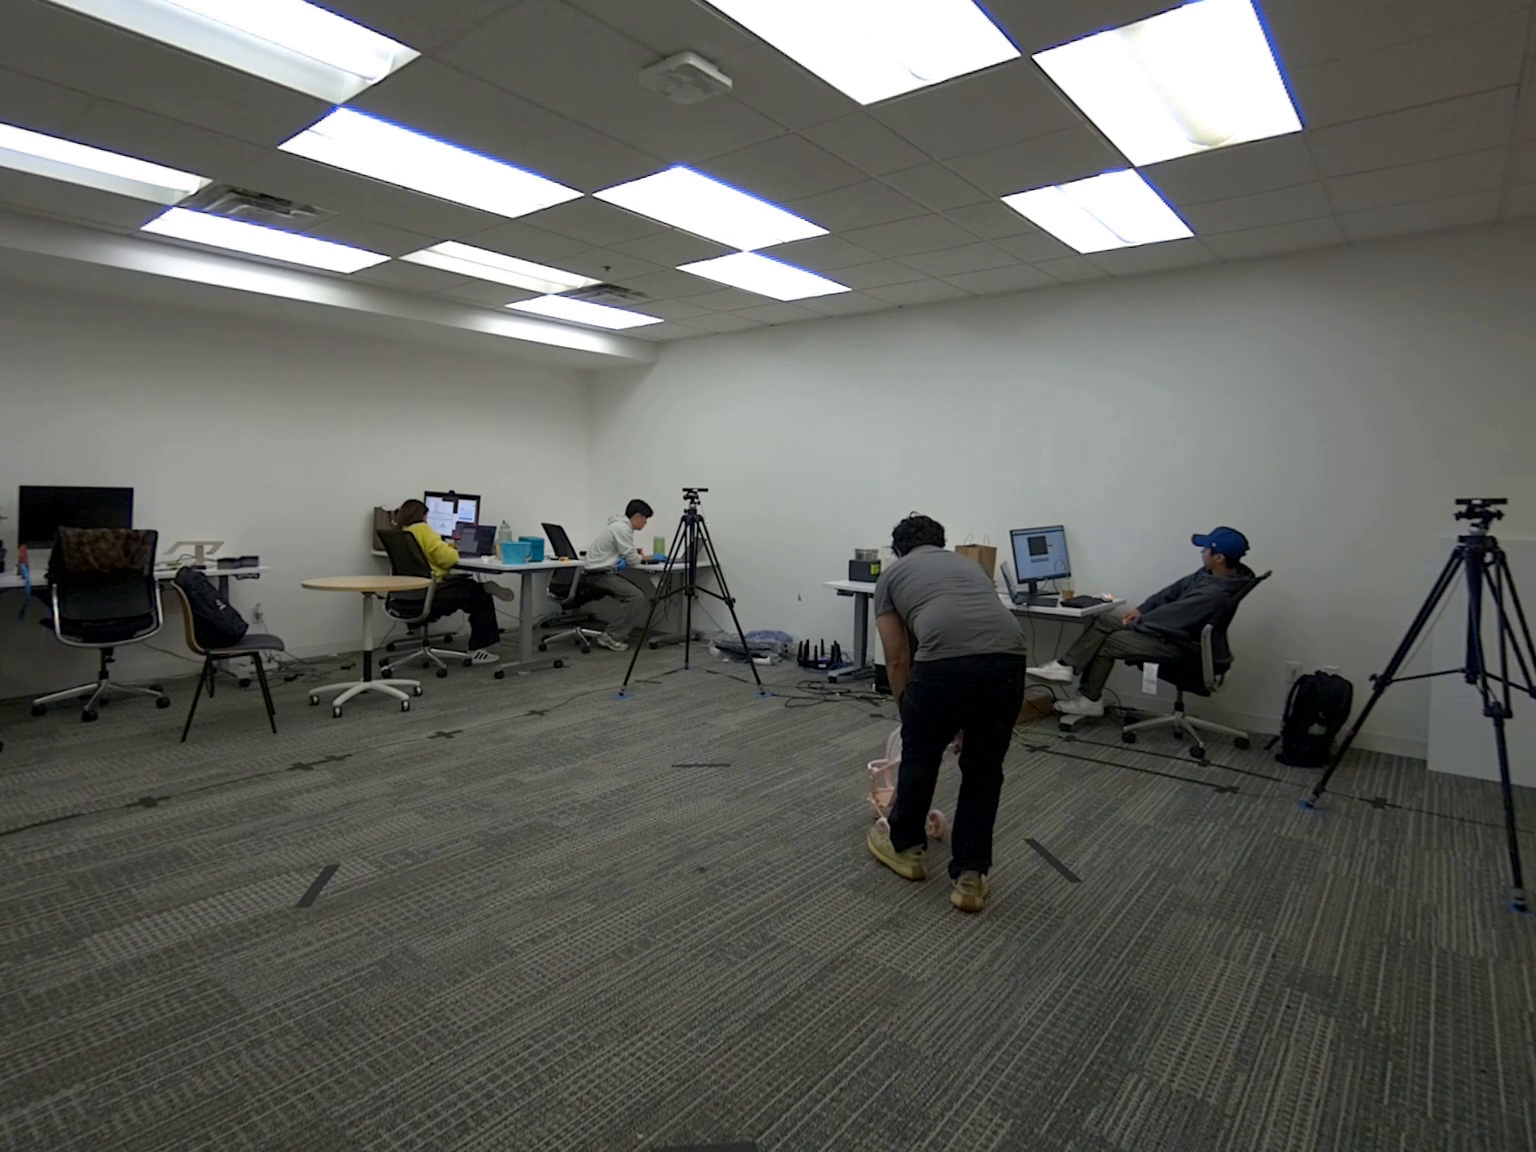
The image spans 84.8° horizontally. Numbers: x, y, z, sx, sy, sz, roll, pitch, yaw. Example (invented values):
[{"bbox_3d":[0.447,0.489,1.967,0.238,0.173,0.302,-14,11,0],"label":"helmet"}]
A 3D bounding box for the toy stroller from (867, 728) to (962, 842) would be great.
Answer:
[{"bbox_3d":[0.543,0.823,3.453,0.276,0.527,0.353,1,20,-20],"label":"toy stroller"}]
